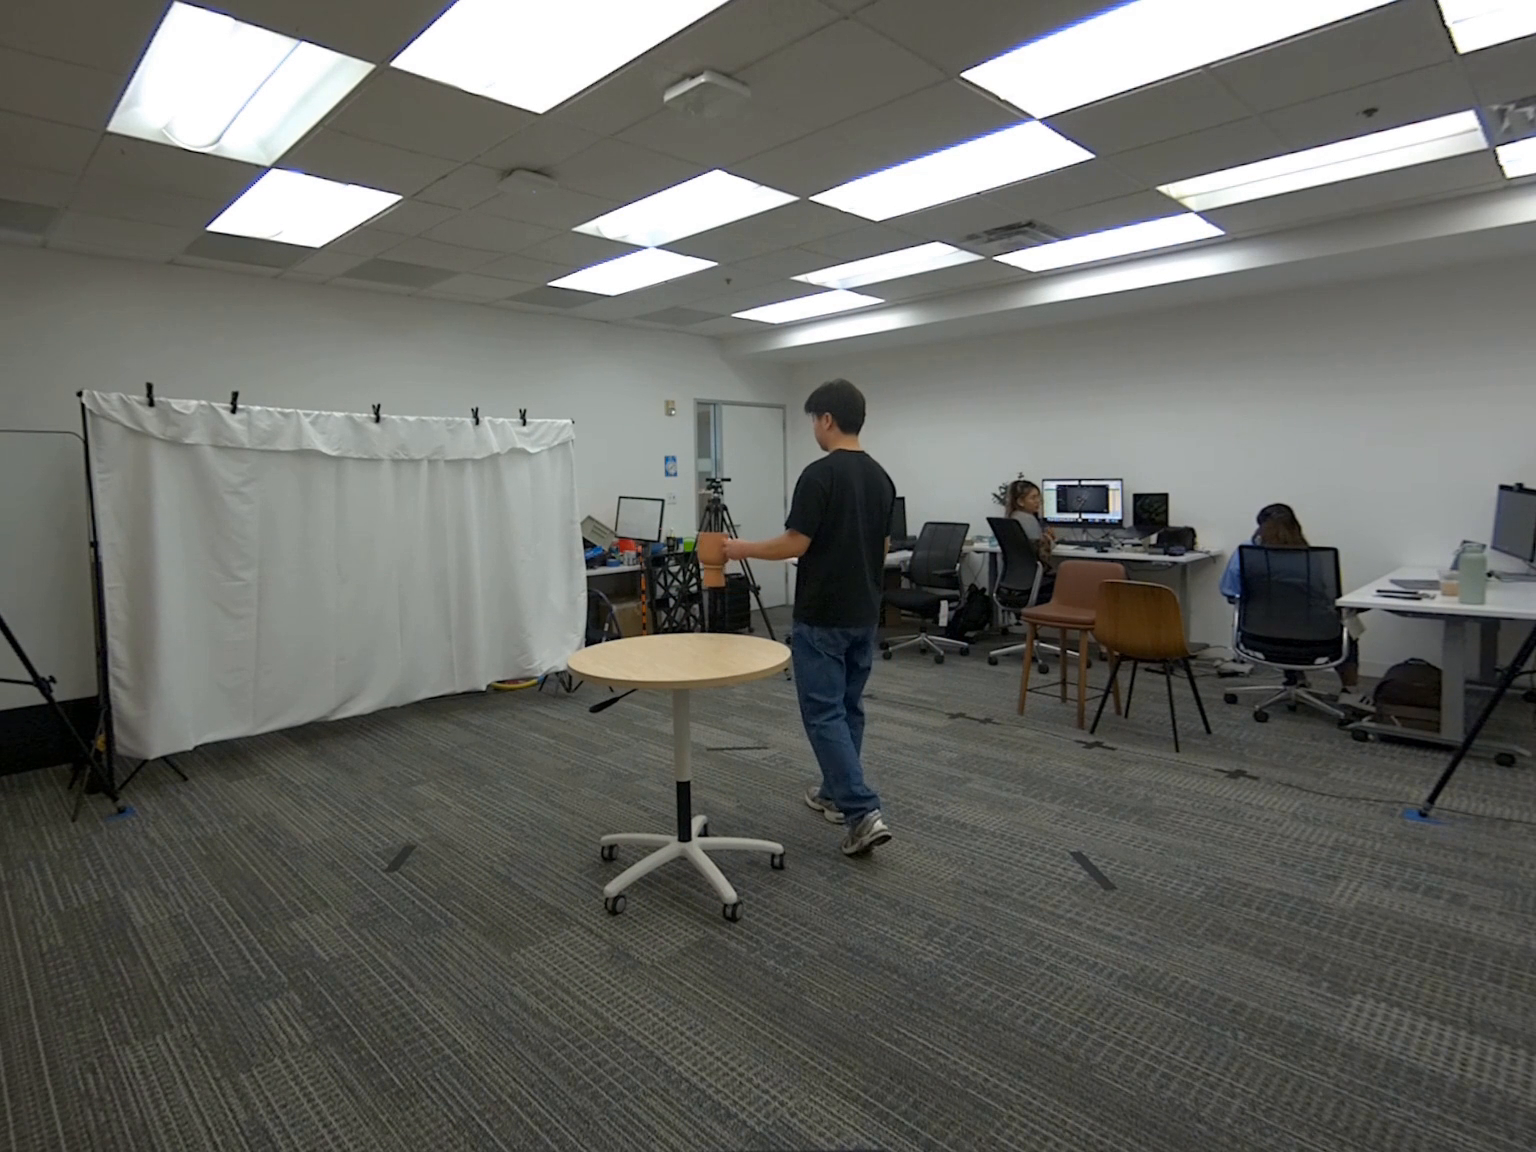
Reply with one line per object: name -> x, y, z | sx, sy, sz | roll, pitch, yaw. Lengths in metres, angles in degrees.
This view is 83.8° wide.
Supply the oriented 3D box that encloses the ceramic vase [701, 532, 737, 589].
ceramic vase -> -0.204, -0.070, 3.518 | 0.134, 0.219, 0.160 | -1, 2, -6
